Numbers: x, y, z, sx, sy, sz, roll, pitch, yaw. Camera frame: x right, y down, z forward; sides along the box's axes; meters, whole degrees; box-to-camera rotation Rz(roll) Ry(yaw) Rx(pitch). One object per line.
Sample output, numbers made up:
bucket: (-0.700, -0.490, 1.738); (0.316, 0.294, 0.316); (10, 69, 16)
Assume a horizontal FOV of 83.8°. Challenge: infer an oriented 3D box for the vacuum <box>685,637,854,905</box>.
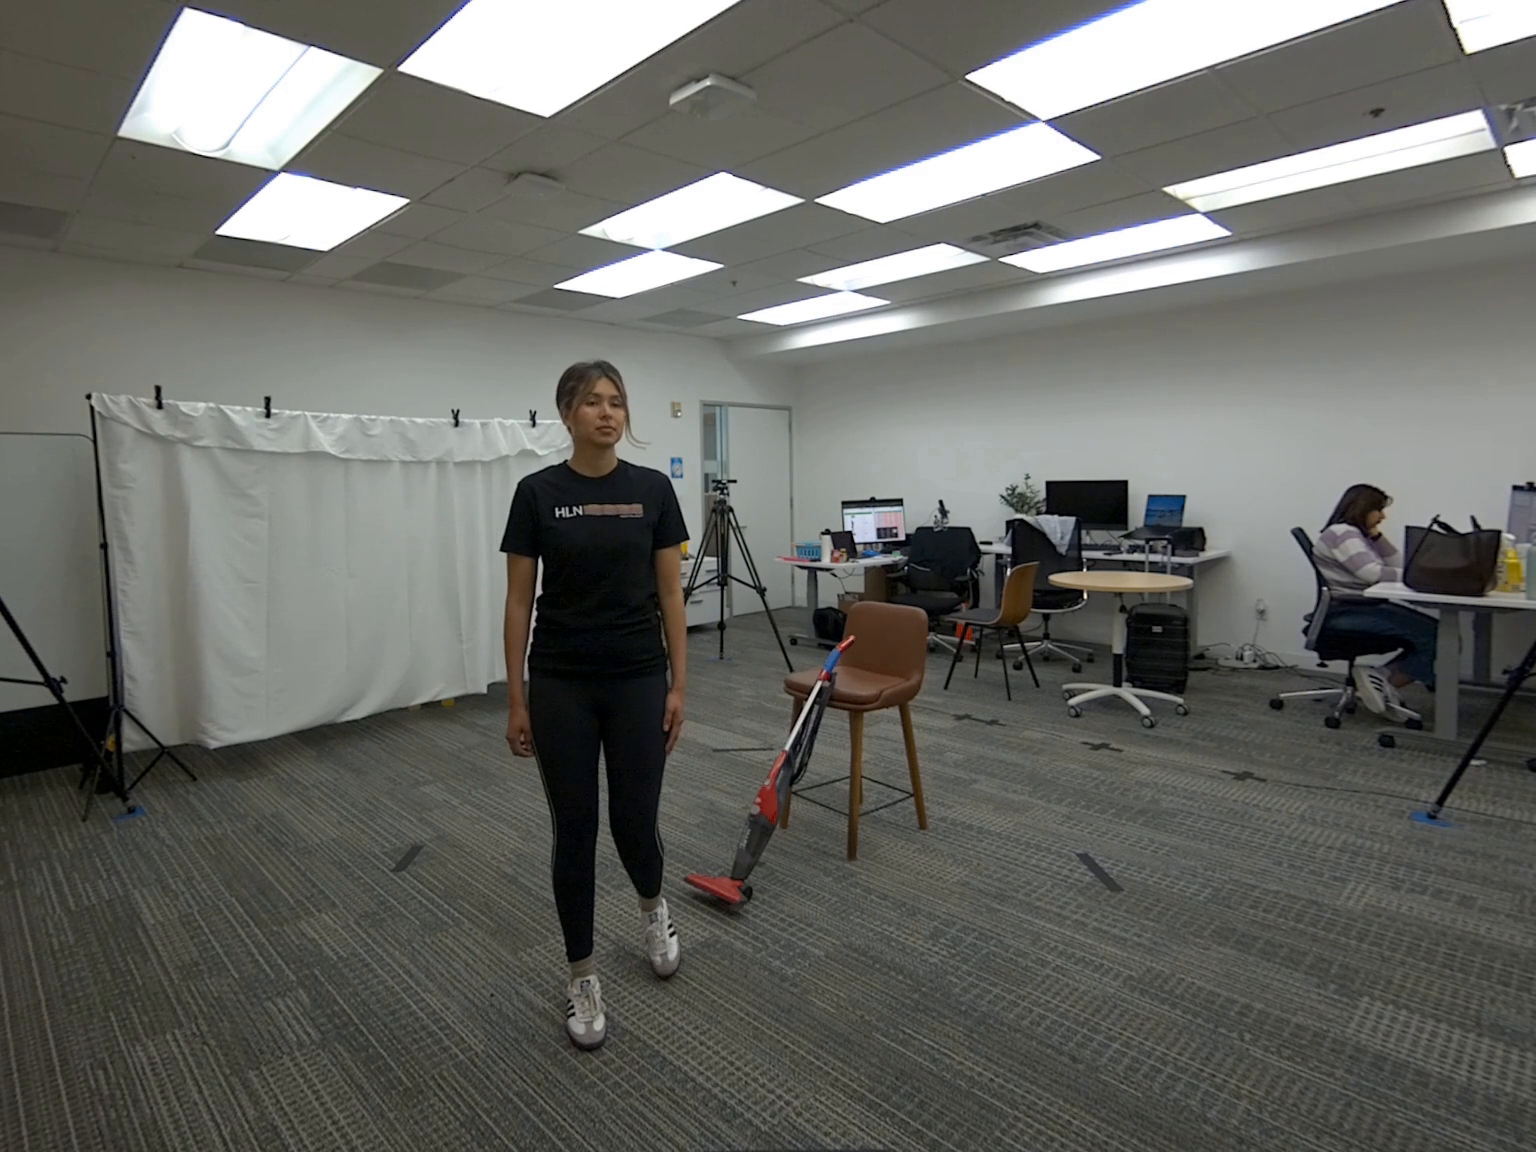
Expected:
vacuum: (0.086, 0.656, 3.066); (0.260, 1.056, 0.139); (5, -36, 41)
